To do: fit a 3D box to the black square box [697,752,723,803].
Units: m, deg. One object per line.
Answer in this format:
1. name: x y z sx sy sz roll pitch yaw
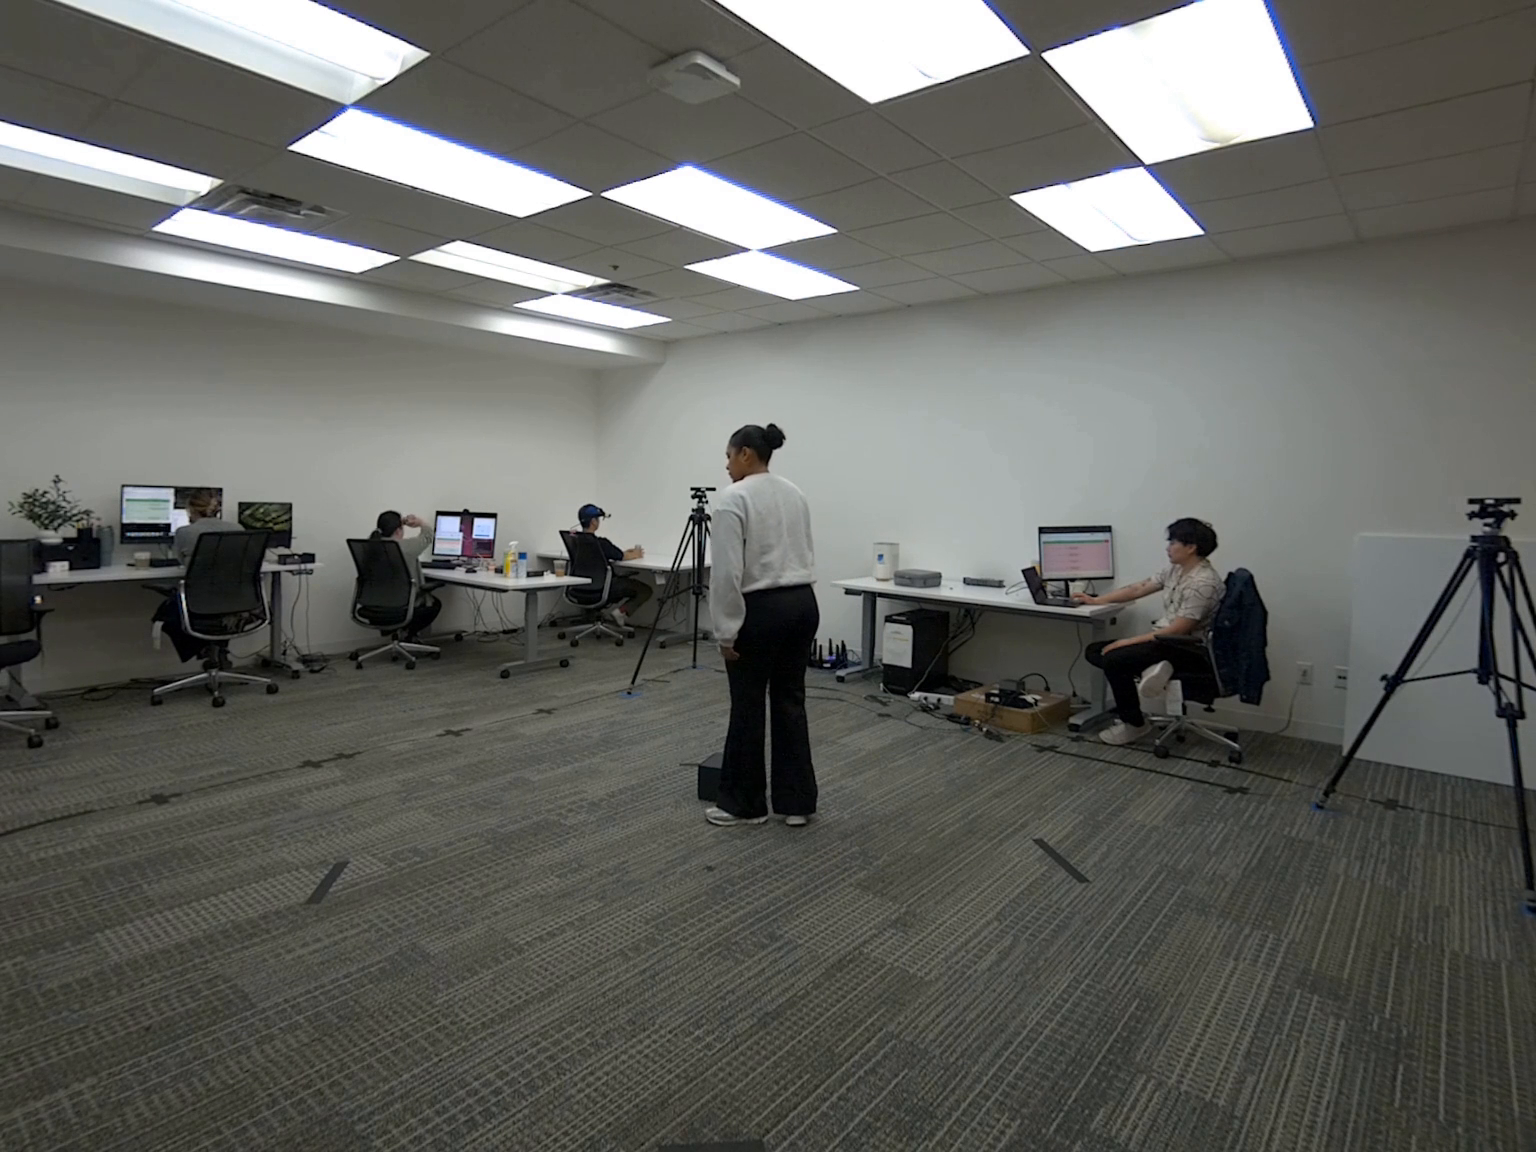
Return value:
1. black square box: -0.183 0.910 3.855 0.233 0.155 0.213 3 5 20
